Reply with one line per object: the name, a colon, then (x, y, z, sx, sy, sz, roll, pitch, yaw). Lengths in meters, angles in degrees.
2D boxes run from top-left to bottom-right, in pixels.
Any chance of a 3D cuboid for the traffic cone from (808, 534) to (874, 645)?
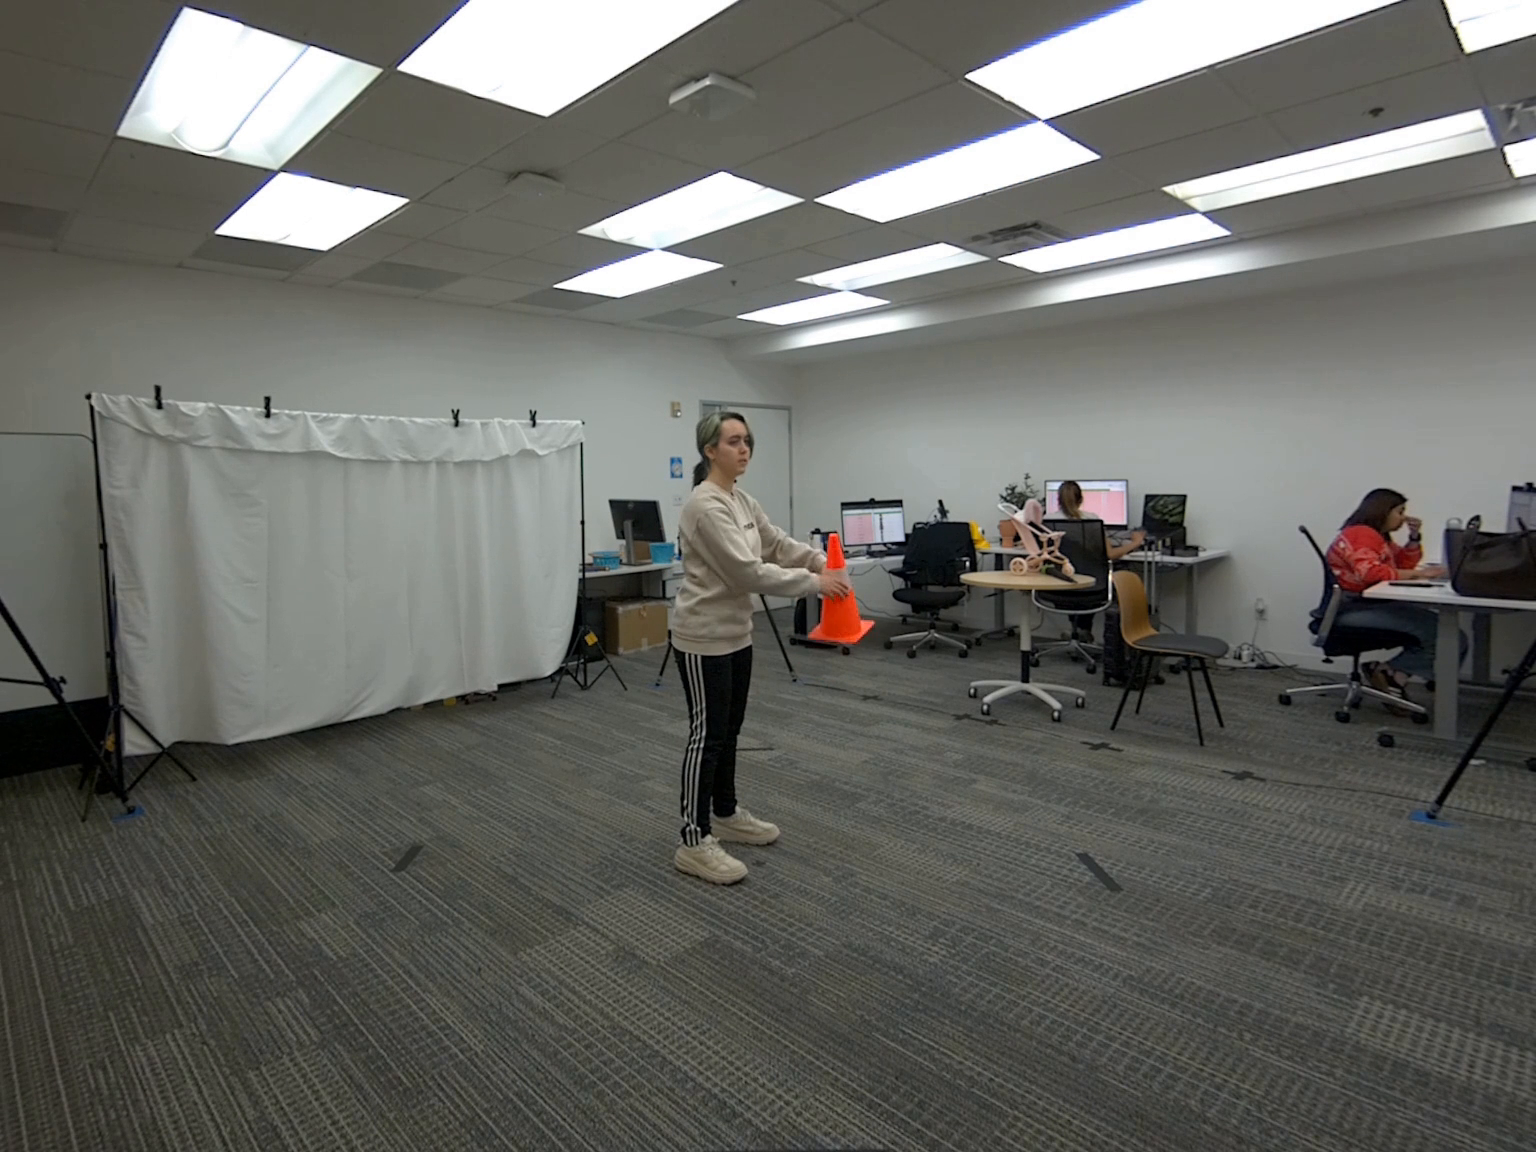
traffic cone: (0.237, 0.017, 3.159, 0.209, 0.378, 0.203, 2, 18, 29)
